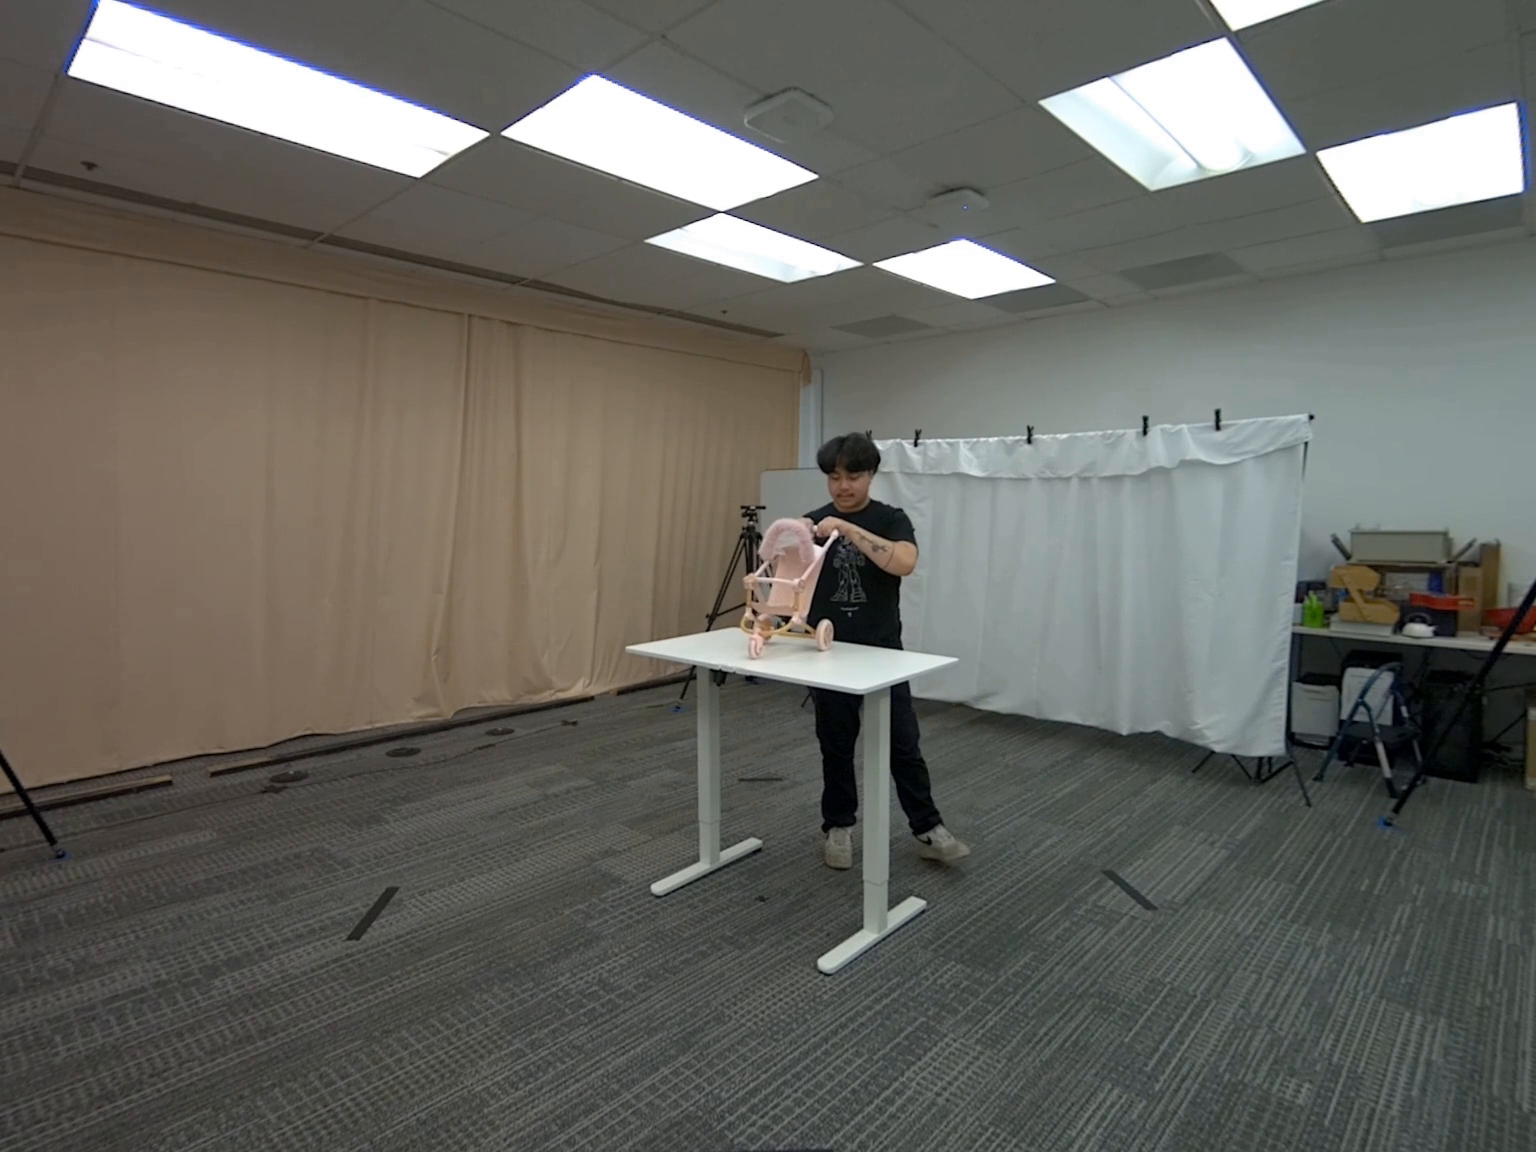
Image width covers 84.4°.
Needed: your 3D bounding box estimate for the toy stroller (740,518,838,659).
[{"bbox_3d":[0.063,0.038,2.954,0.290,0.537,0.329,2,-10,36],"label":"toy stroller"}]
